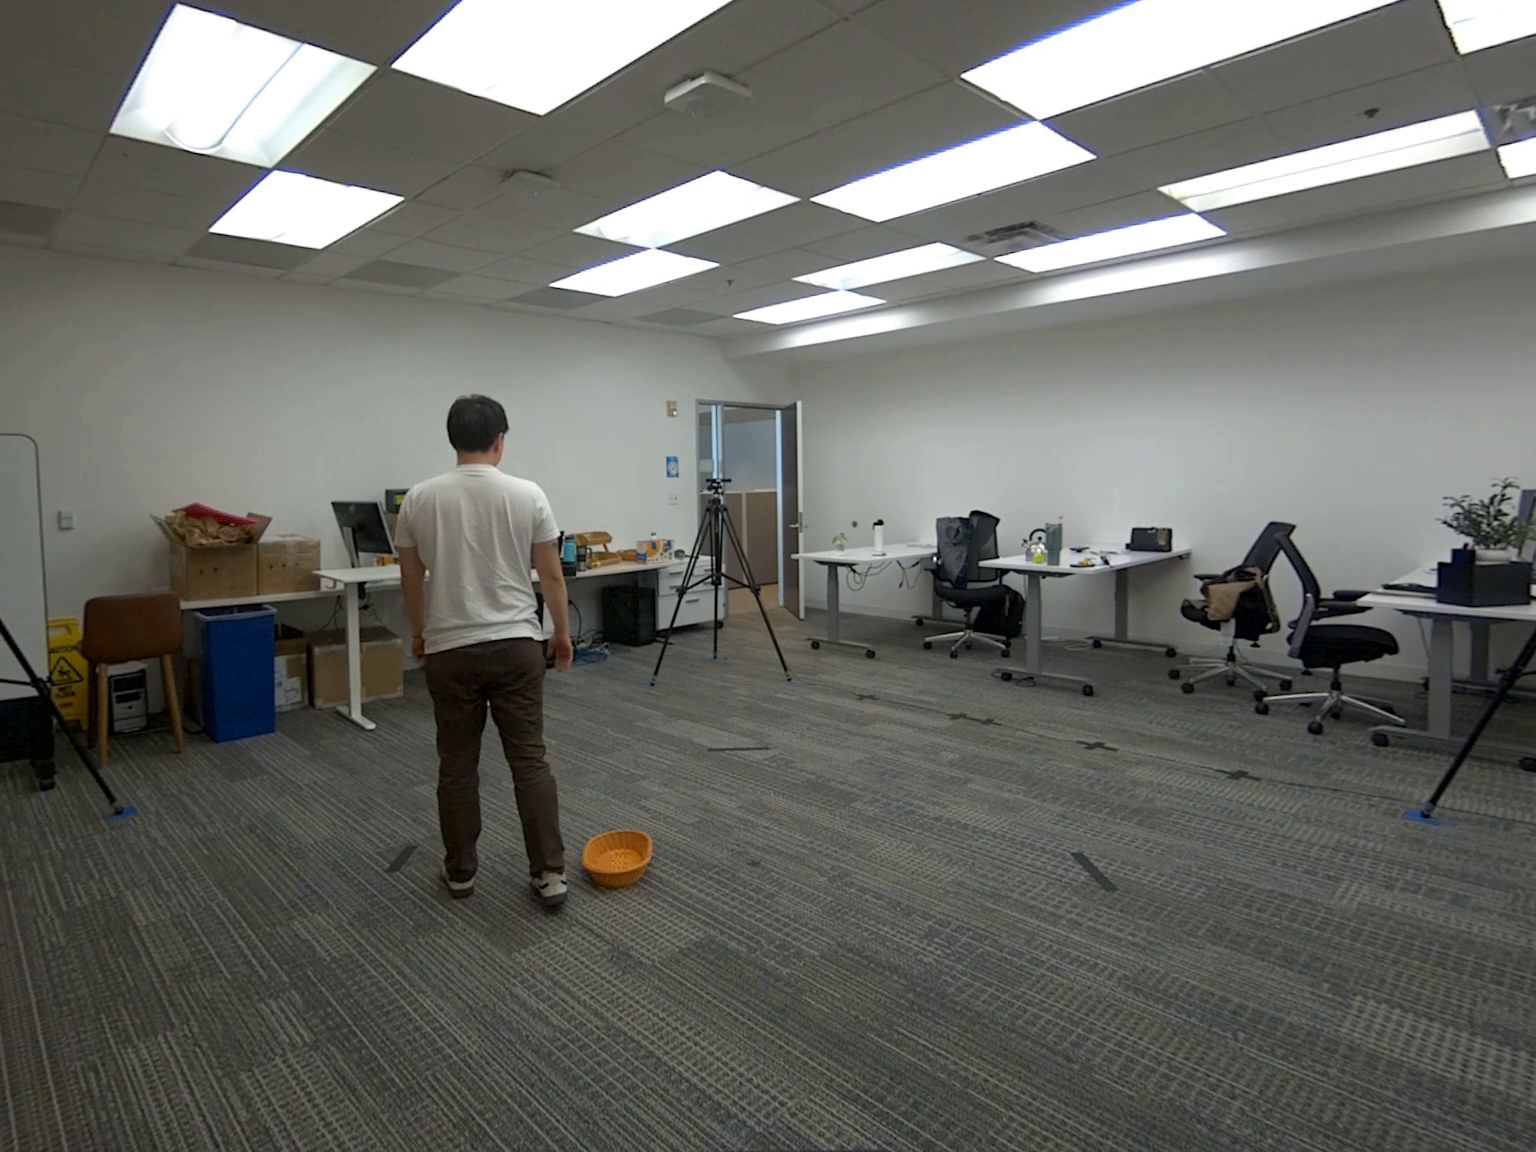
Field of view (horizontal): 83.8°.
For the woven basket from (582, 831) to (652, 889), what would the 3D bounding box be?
[{"bbox_3d":[-0.542,1.018,3.073,0.251,0.073,0.353,-2,7,-5],"label":"woven basket"}]
